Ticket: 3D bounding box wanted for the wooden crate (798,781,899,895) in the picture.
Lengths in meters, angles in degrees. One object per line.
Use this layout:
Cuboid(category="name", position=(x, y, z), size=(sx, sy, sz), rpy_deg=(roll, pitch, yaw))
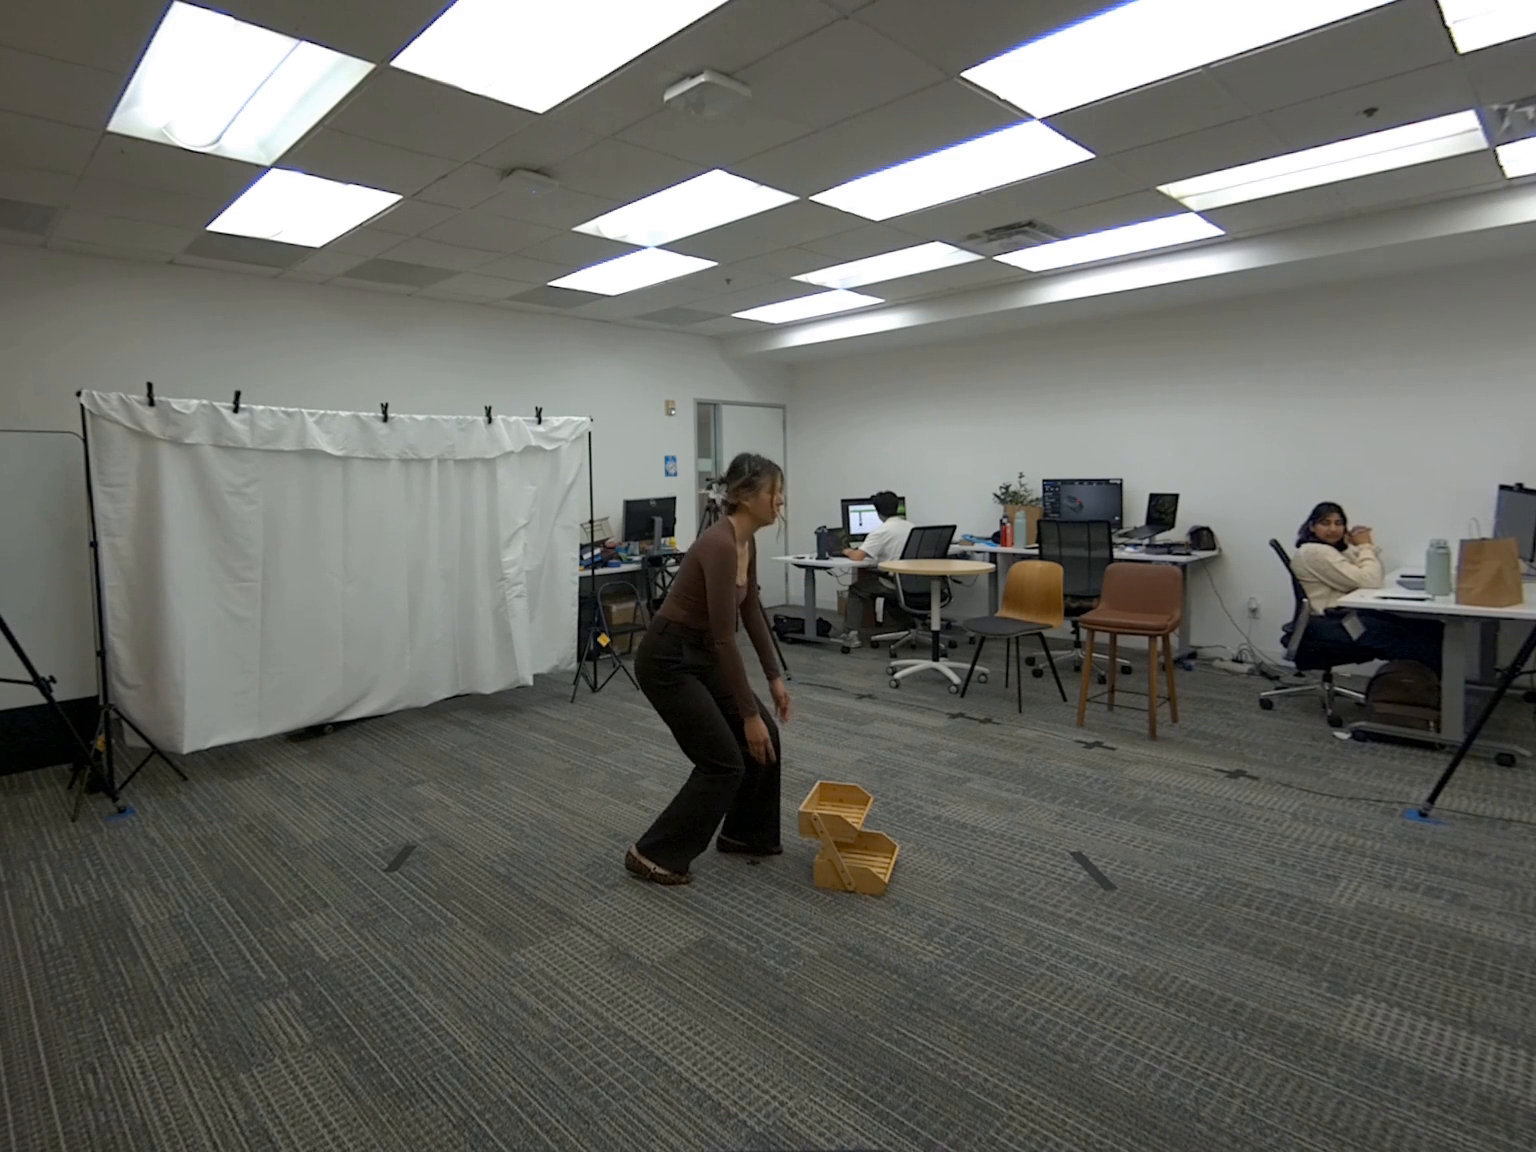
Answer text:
Cuboid(category="wooden crate", position=(0.291, 0.905, 3.015), size=(0.307, 0.272, 0.320), rpy_deg=(0, 5, 18))
